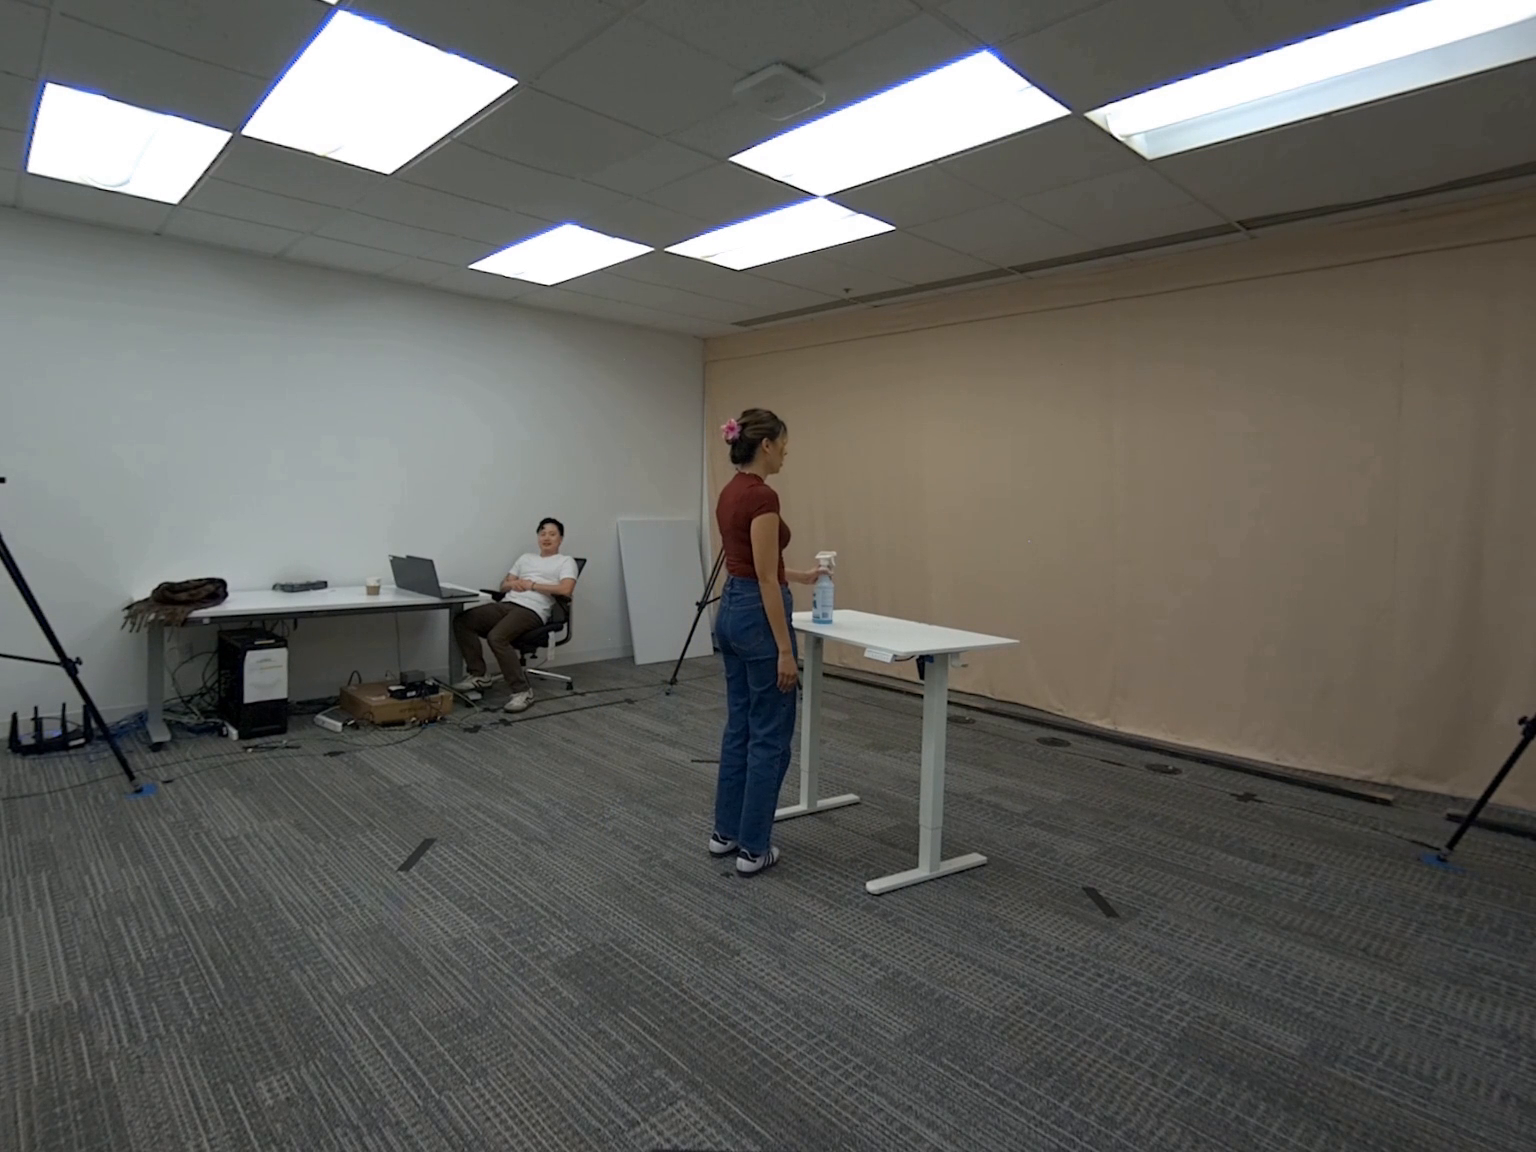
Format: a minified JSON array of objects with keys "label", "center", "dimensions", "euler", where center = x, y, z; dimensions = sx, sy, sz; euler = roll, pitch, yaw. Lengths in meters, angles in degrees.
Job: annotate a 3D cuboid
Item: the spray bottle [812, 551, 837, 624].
[{"label":"spray bottle","center":[0.224,0.046,3.502],"dimensions":[0.085,0.296,0.092],"euler":[0,4,-39]}]
